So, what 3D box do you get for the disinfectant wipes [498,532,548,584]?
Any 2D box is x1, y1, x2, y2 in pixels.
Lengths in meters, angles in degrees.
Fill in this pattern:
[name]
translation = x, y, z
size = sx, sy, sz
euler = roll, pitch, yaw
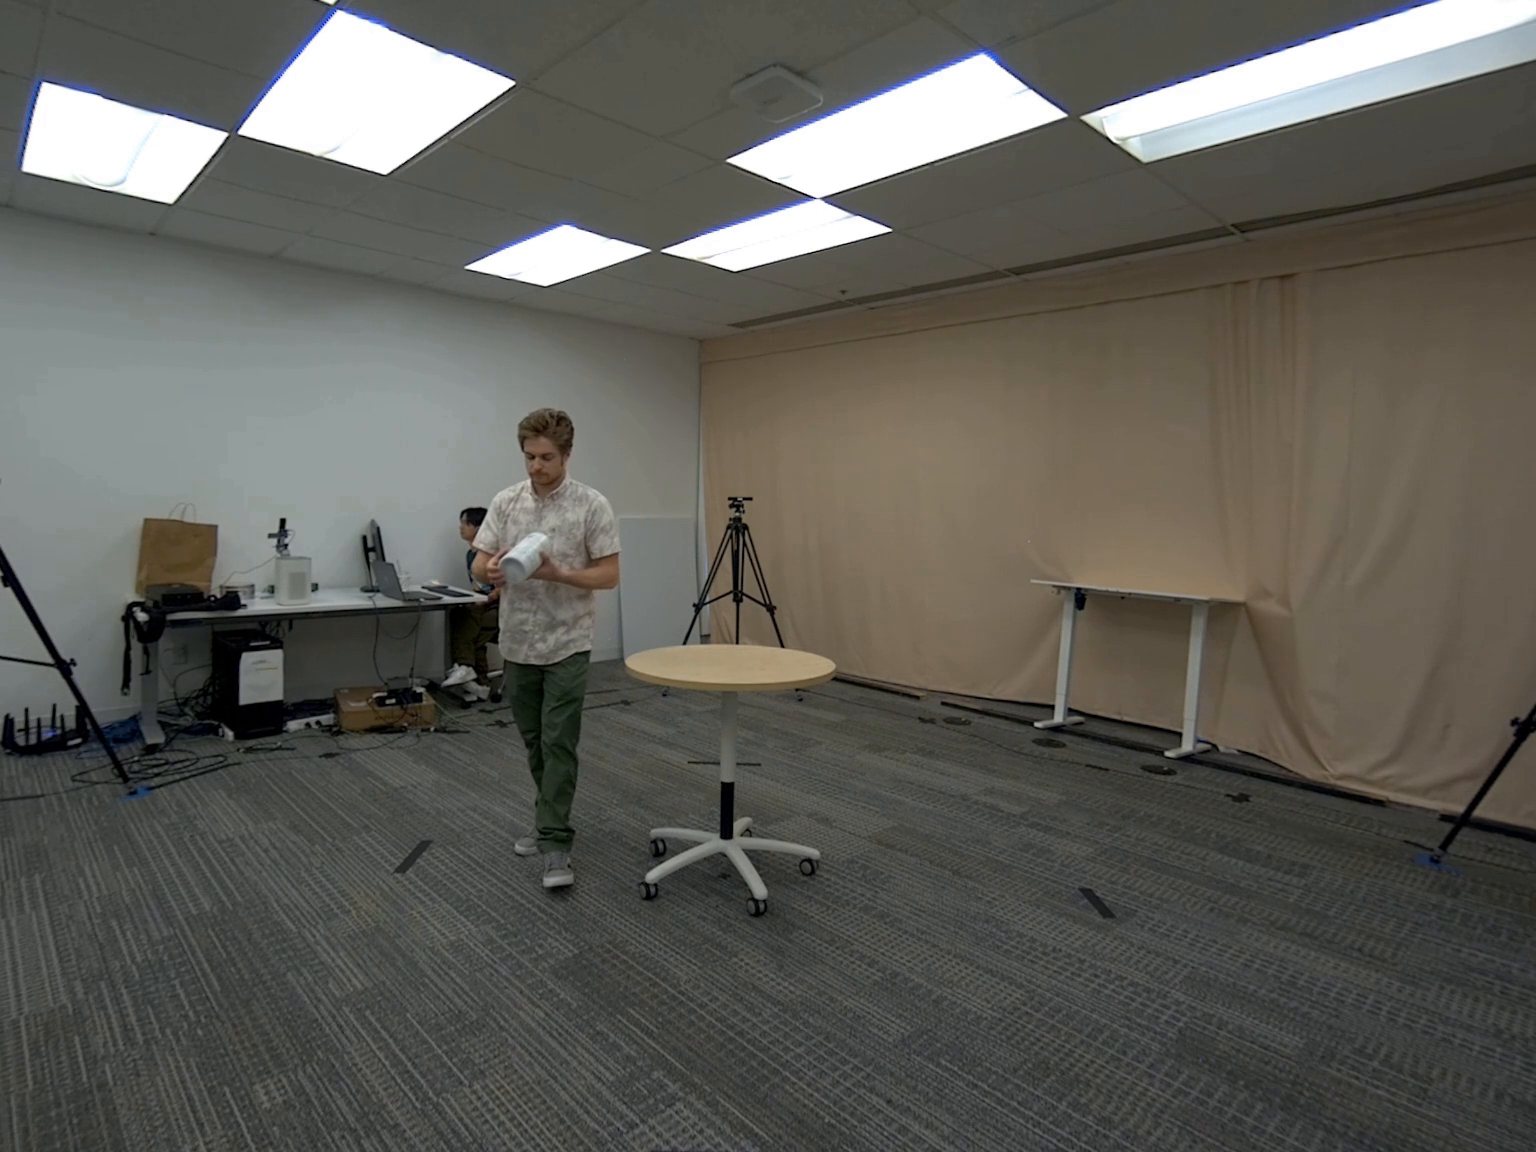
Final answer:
[disinfectant wipes]
translation = -0.848, -0.063, 2.926
size = 0.119, 0.116, 0.219
euler = 2, 25, 13
